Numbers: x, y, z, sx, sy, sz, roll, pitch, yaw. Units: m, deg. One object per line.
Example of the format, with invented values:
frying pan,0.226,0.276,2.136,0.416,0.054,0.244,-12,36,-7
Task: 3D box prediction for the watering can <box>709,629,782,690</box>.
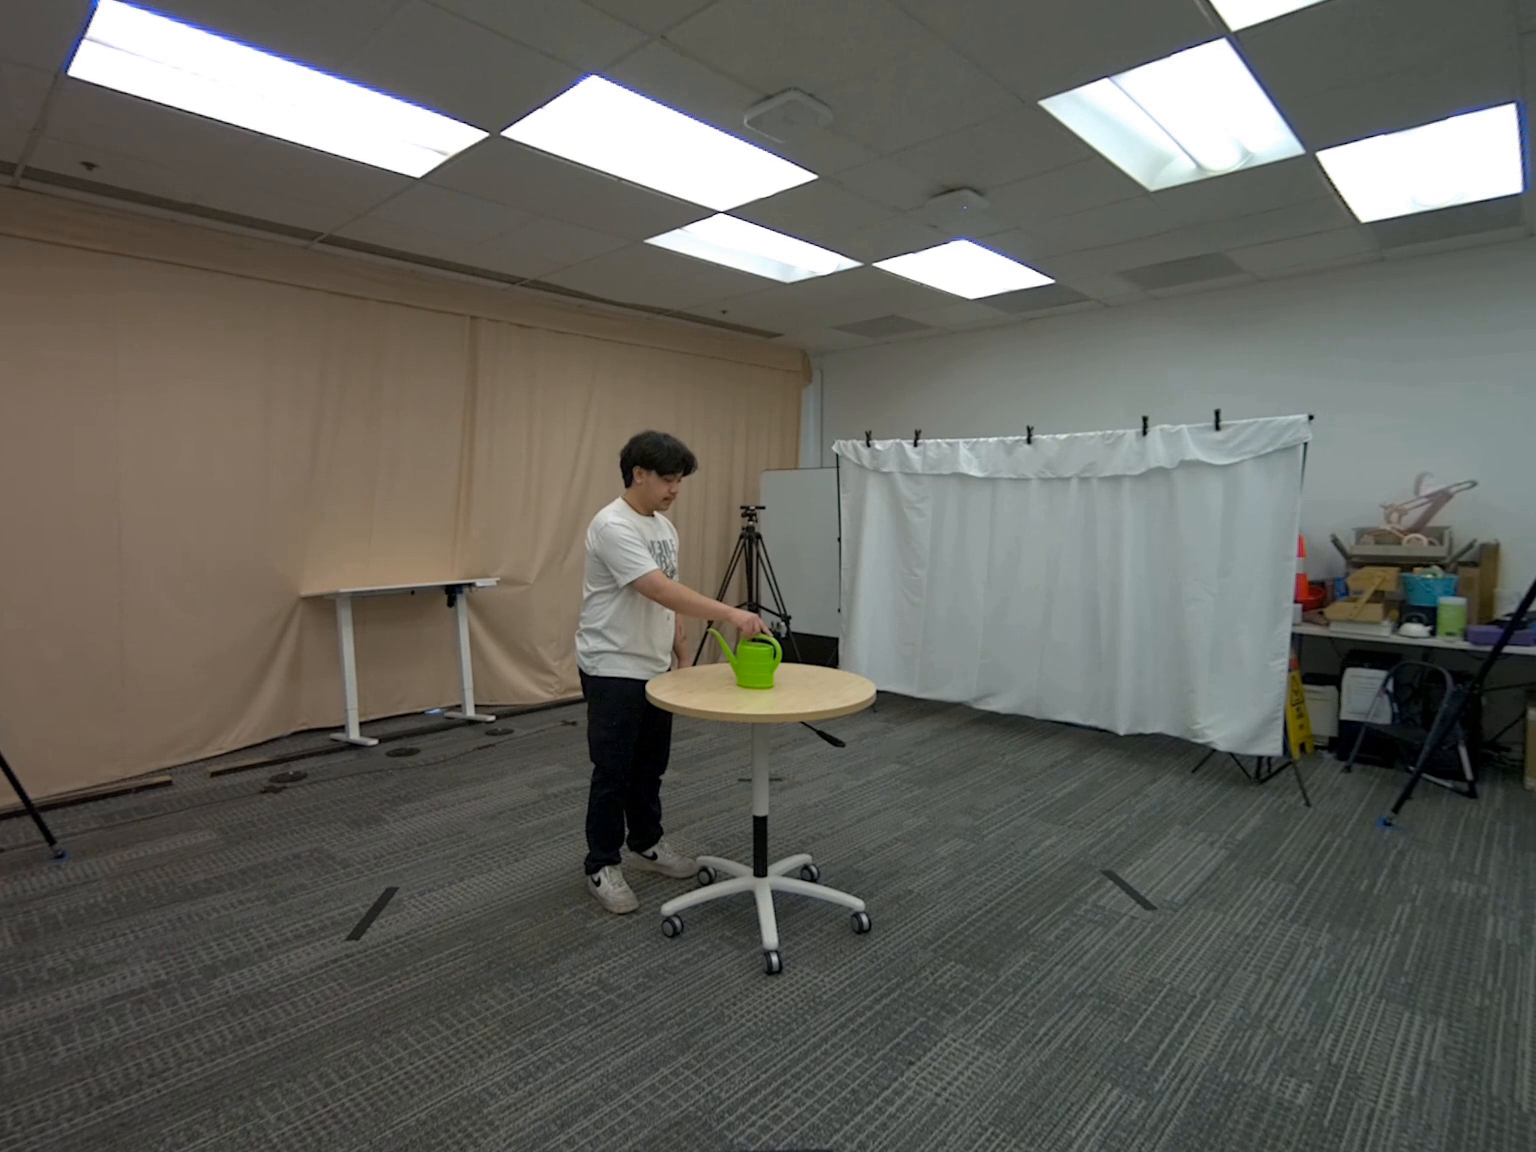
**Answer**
watering can,-0.069,0.276,2.821,0.287,0.176,0.095,6,7,38
